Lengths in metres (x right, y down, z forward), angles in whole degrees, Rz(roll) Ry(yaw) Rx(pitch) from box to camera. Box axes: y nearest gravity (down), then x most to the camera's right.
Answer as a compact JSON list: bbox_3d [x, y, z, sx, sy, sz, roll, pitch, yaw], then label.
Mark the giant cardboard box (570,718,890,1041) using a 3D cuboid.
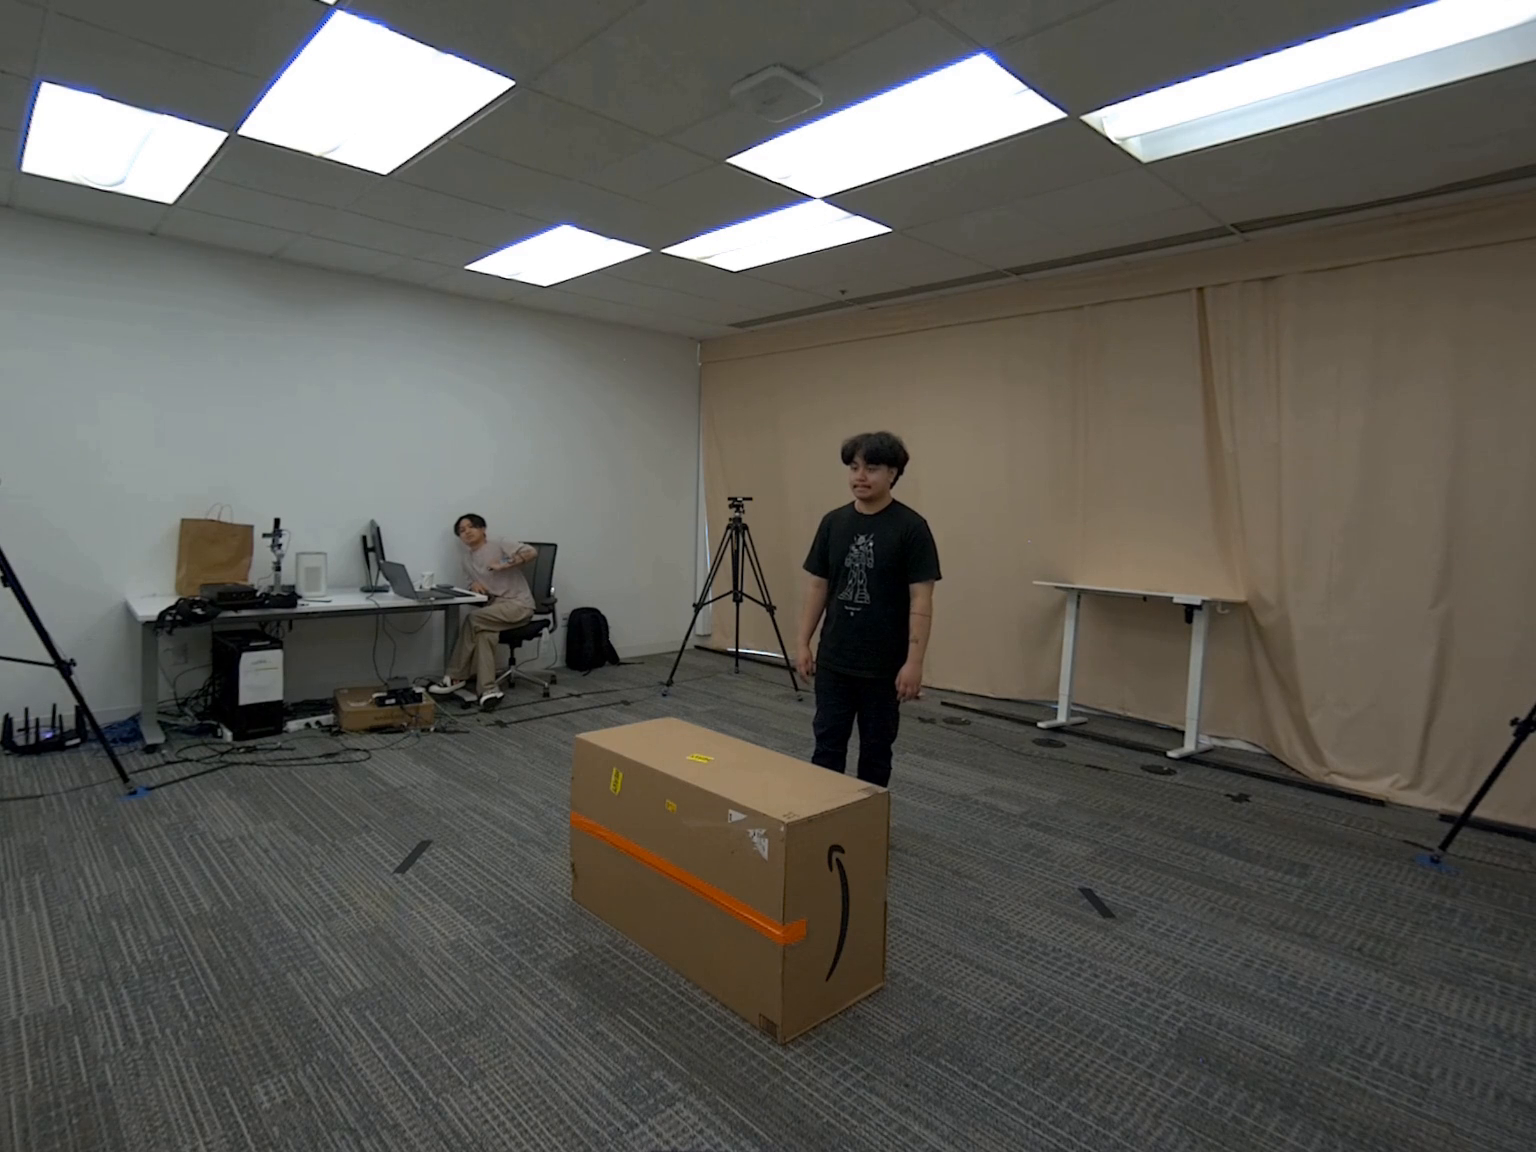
[{"bbox_3d":[-0.173,0.864,2.645,0.437,0.582,1.053,-3,6,-43],"label":"giant cardboard box"}]
